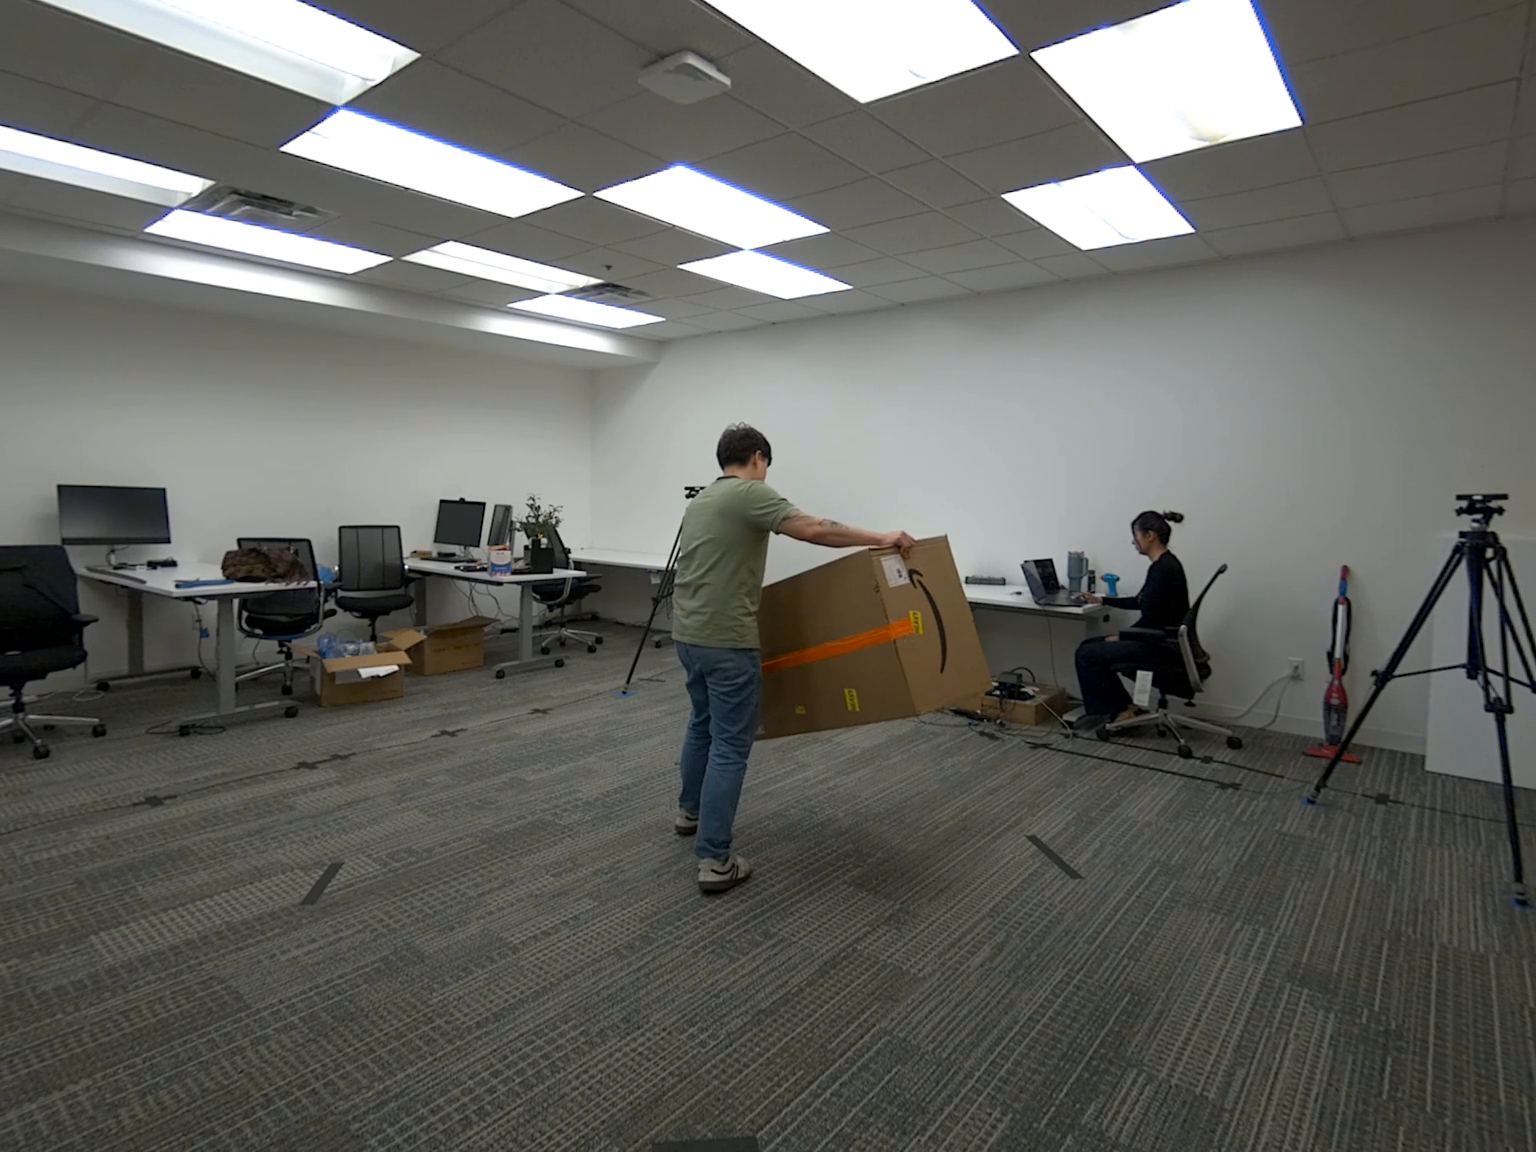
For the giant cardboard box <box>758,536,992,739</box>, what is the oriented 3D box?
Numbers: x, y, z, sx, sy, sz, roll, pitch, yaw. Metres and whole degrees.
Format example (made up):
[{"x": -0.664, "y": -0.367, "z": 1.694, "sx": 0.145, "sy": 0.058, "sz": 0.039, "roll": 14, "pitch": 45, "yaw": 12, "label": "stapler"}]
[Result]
[{"x": 0.247, "y": 0.276, "z": 3.315, "sx": 0.415, "sy": 0.583, "sz": 1.043, "roll": -10, "pitch": -8, "yaw": -39, "label": "giant cardboard box"}]
